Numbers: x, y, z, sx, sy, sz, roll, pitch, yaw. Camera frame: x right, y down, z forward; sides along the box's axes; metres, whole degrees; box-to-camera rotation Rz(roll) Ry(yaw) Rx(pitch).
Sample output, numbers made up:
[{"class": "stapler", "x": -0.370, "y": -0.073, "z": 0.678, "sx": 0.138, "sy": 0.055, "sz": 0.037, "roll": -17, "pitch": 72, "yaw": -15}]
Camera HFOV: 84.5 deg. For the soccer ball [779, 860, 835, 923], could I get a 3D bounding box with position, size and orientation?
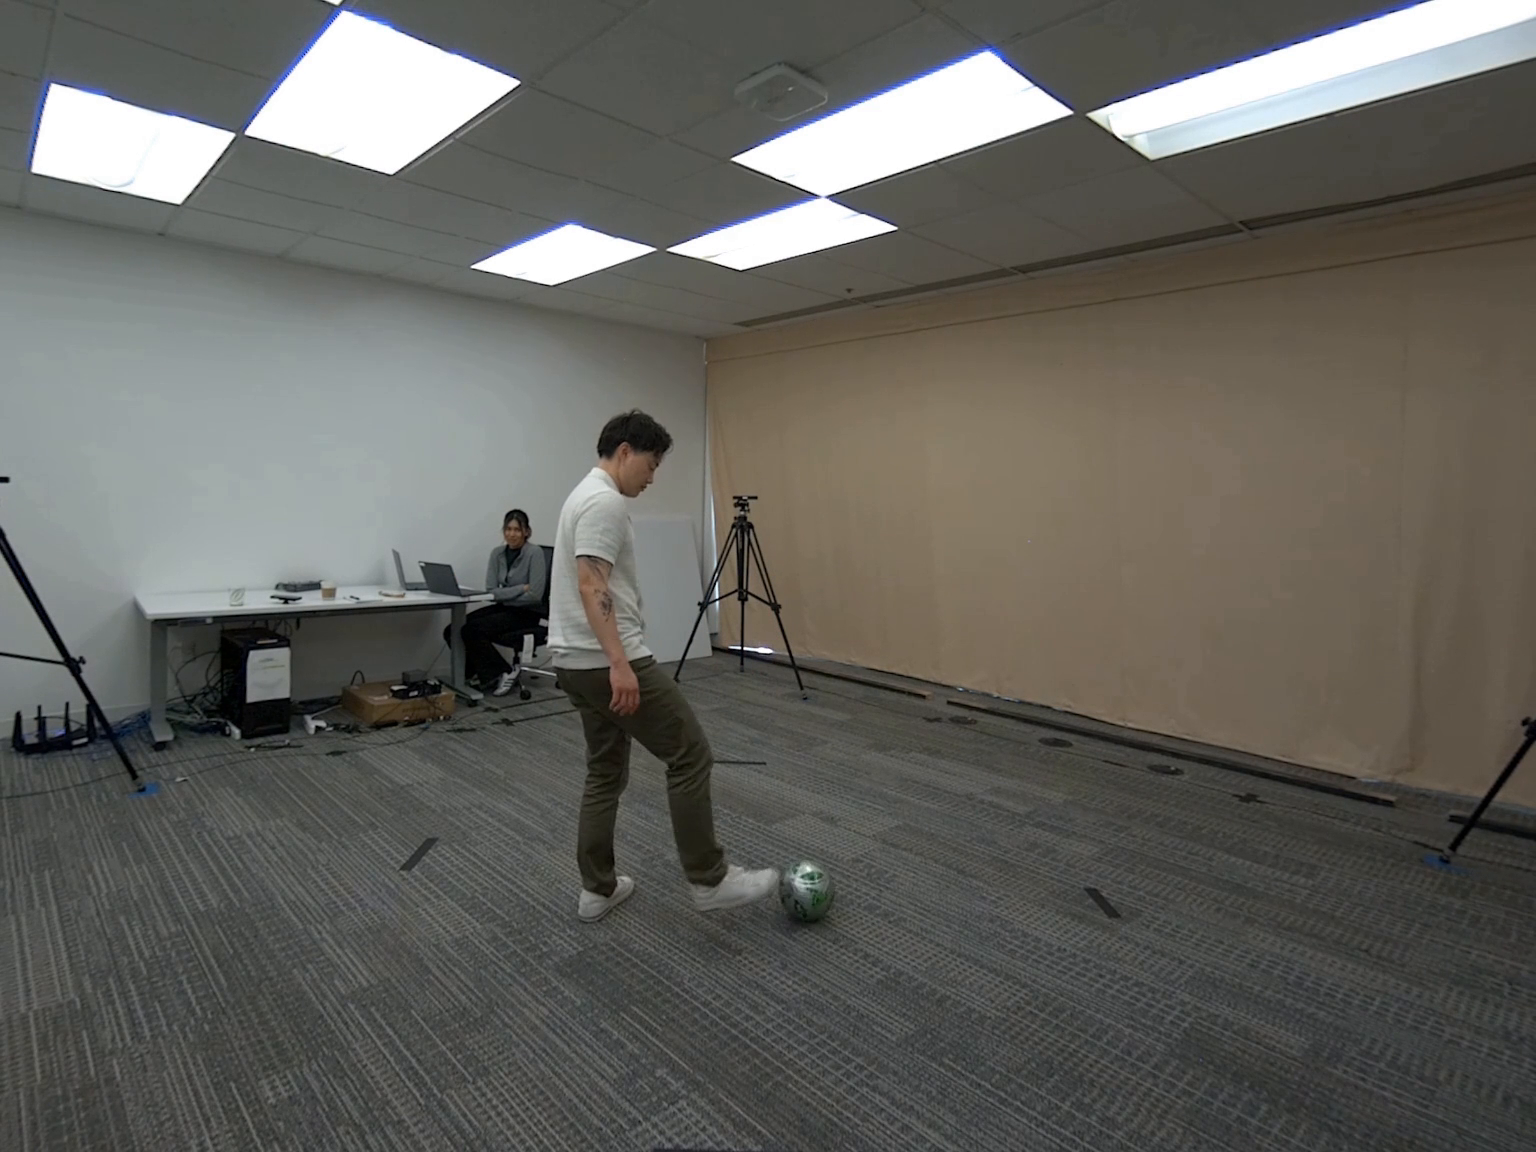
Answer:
[{"class": "soccer ball", "x": 0.119, "y": 1.041, "z": 2.789, "sx": 0.187, "sy": 0.187, "sz": 0.188, "roll": 1, "pitch": 4, "yaw": -1}]
